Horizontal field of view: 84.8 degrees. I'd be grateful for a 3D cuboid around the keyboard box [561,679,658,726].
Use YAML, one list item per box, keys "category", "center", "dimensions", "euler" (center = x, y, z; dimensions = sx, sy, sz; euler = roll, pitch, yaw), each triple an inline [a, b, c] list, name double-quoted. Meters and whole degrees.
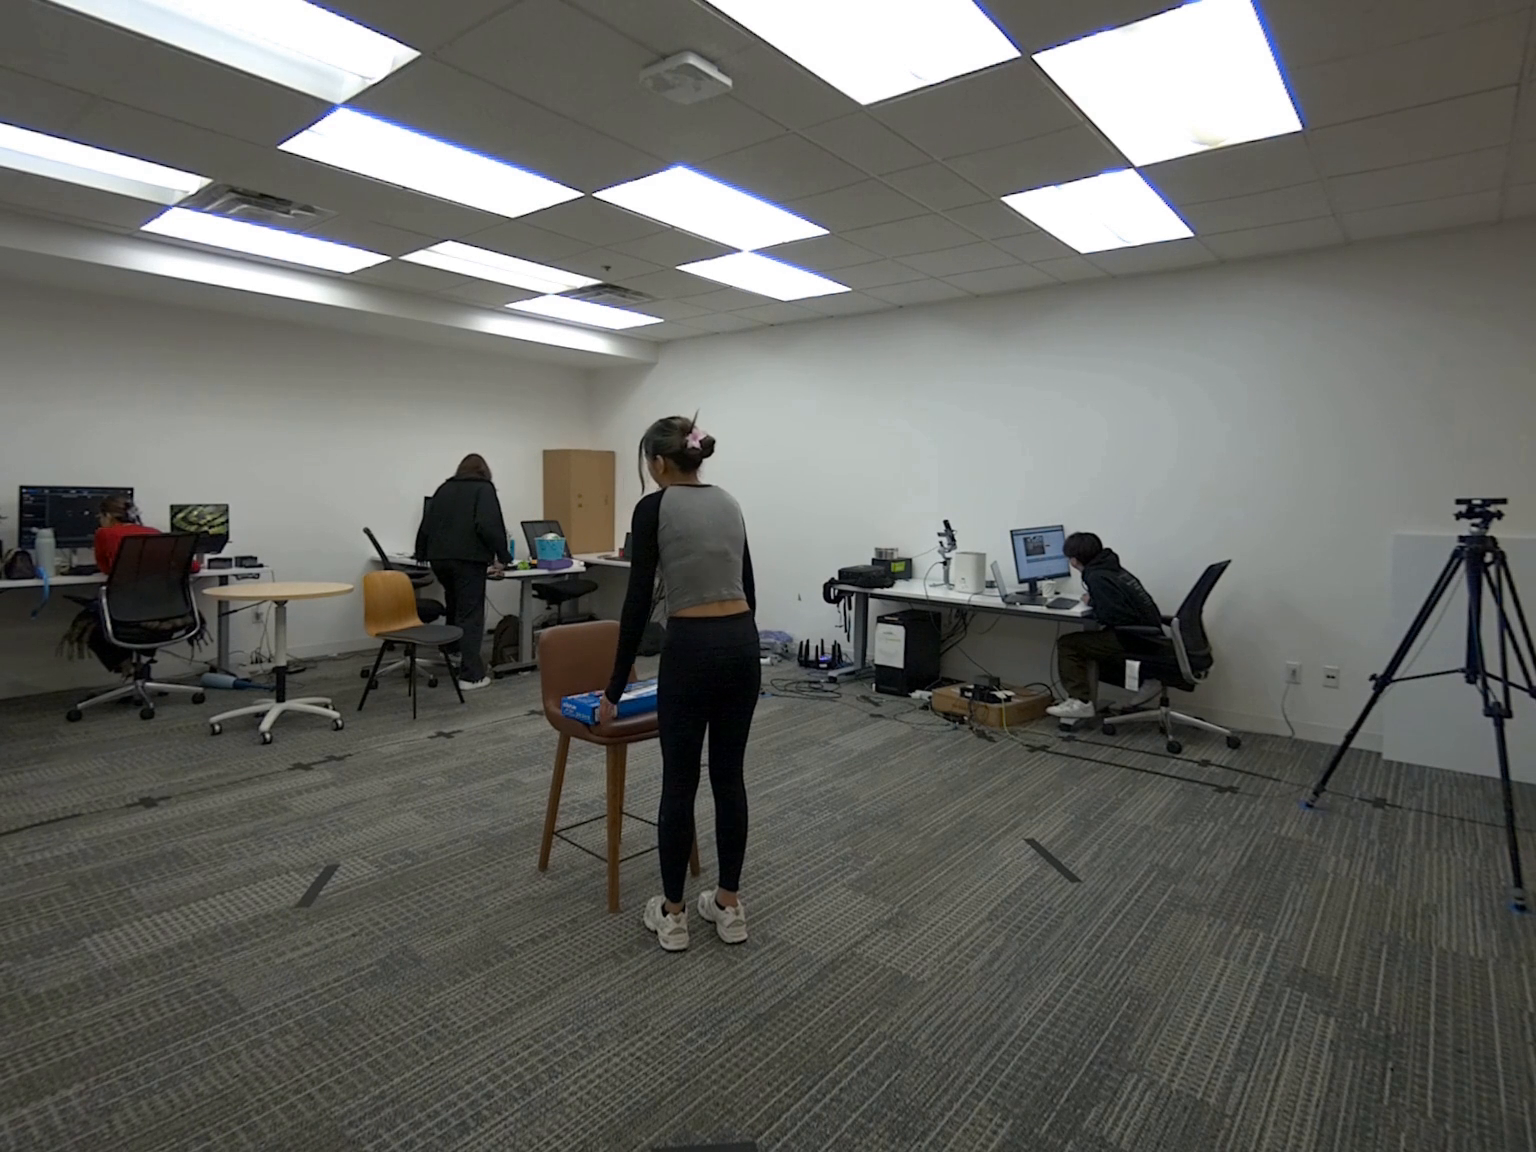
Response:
- category: "keyboard box"
  center: [-0.497, 0.432, 2.974]
  dimensions: [0.182, 0.059, 0.424]
  euler: [5, 8, 44]
